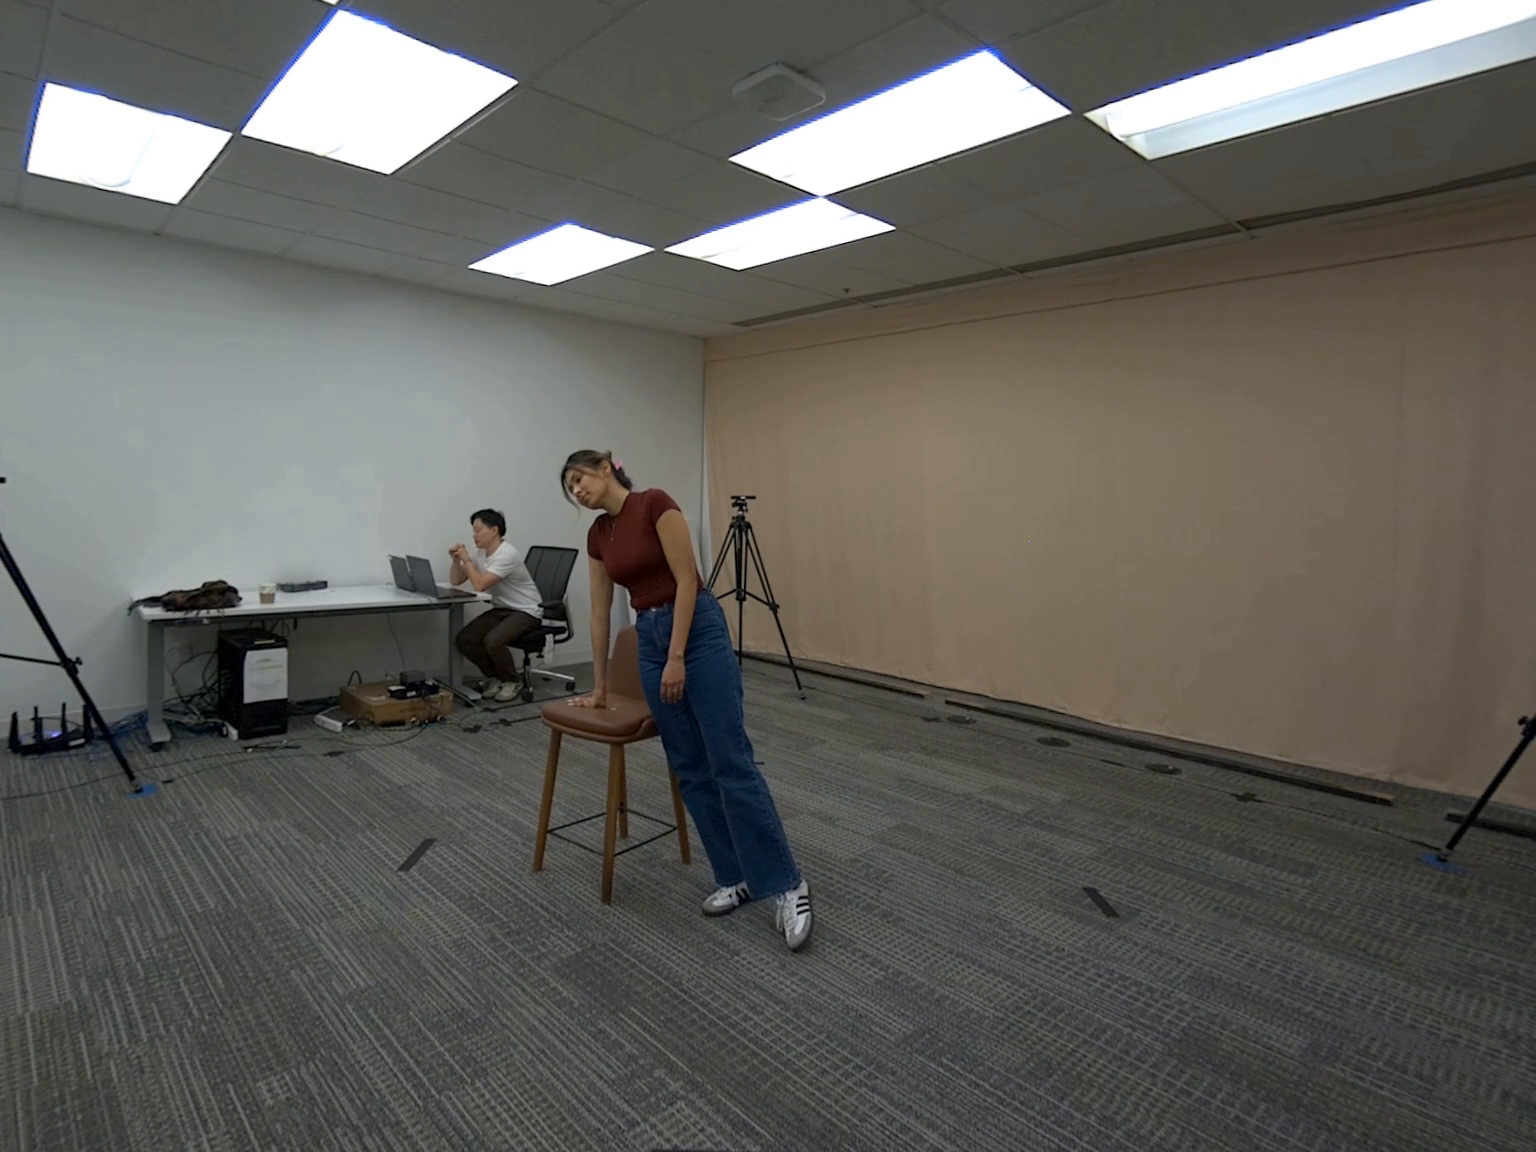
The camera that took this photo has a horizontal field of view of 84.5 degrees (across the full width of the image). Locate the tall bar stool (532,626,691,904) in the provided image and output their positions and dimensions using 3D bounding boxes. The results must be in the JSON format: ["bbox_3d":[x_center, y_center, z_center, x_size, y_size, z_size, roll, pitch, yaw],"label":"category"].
[{"bbox_3d":[-0.577,0.661,3.137,0.468,0.888,0.457,4,3,39],"label":"tall bar stool"}]
